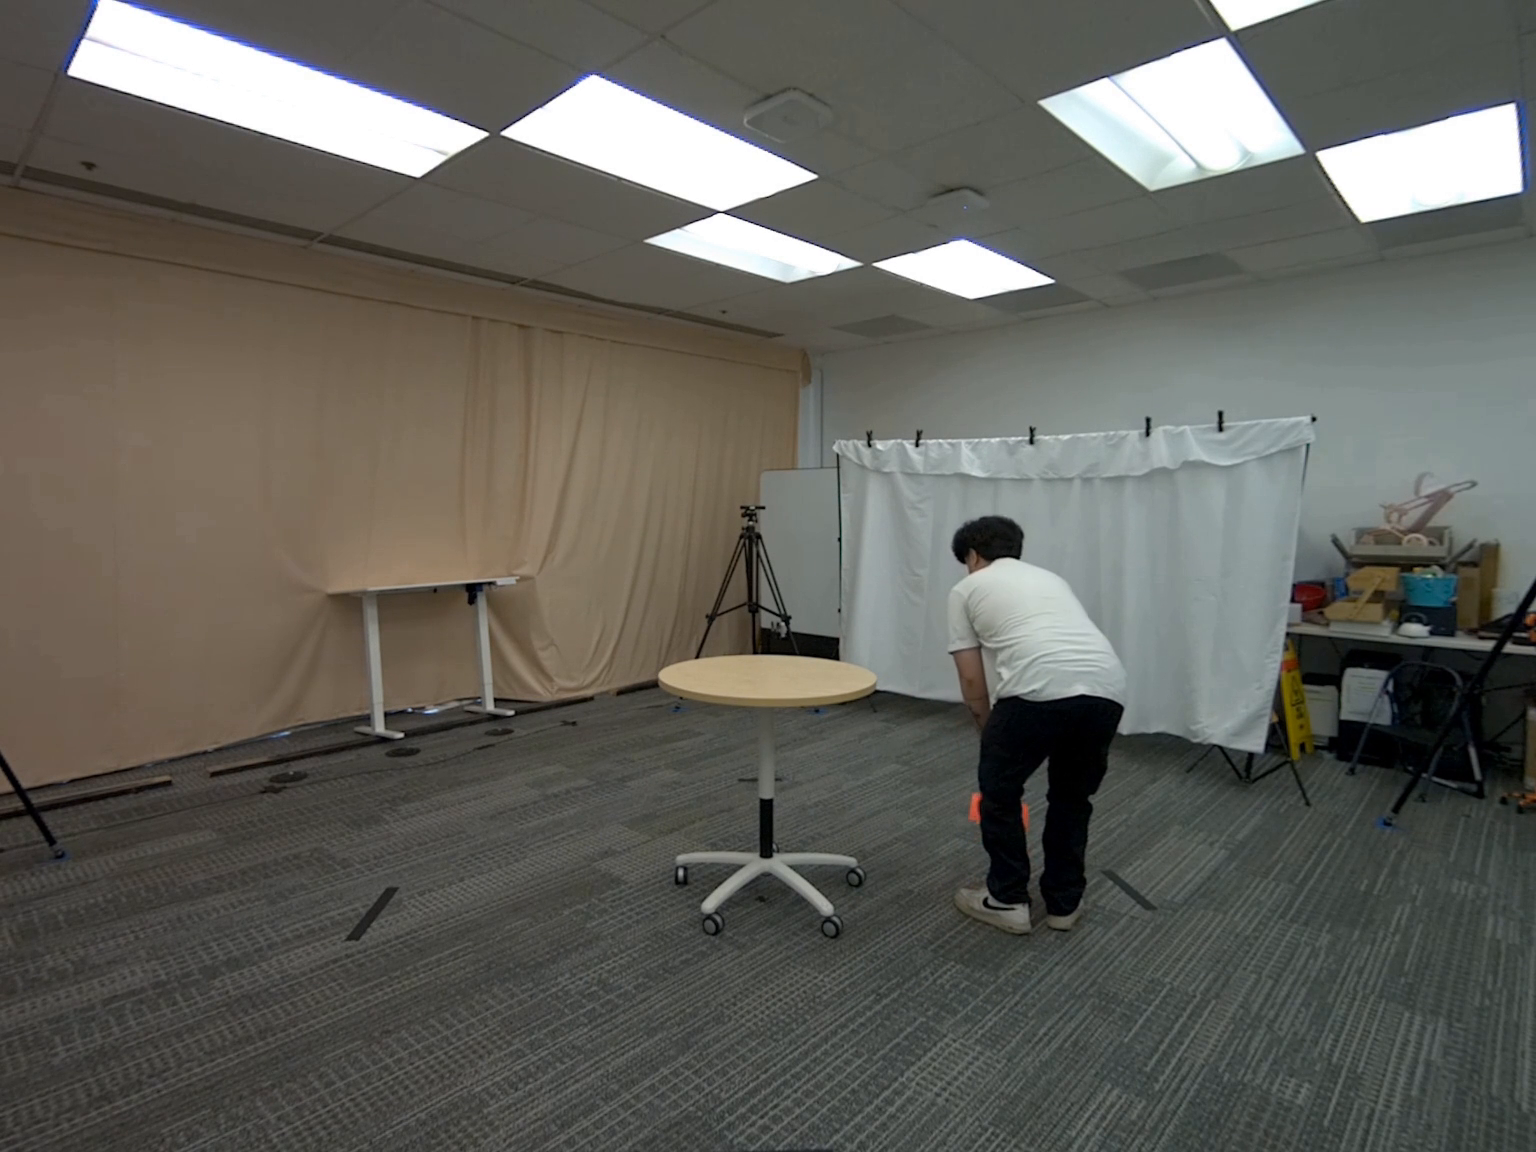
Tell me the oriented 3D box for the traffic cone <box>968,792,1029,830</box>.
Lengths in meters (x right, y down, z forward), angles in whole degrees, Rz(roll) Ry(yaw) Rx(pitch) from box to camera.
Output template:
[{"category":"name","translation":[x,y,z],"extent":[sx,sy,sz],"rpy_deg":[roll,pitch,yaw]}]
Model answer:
[{"category":"traffic cone","translation":[0.866,0.684,3.020],"extent":[0.197,0.381,0.212],"rpy_deg":[-6,15,-39]}]
